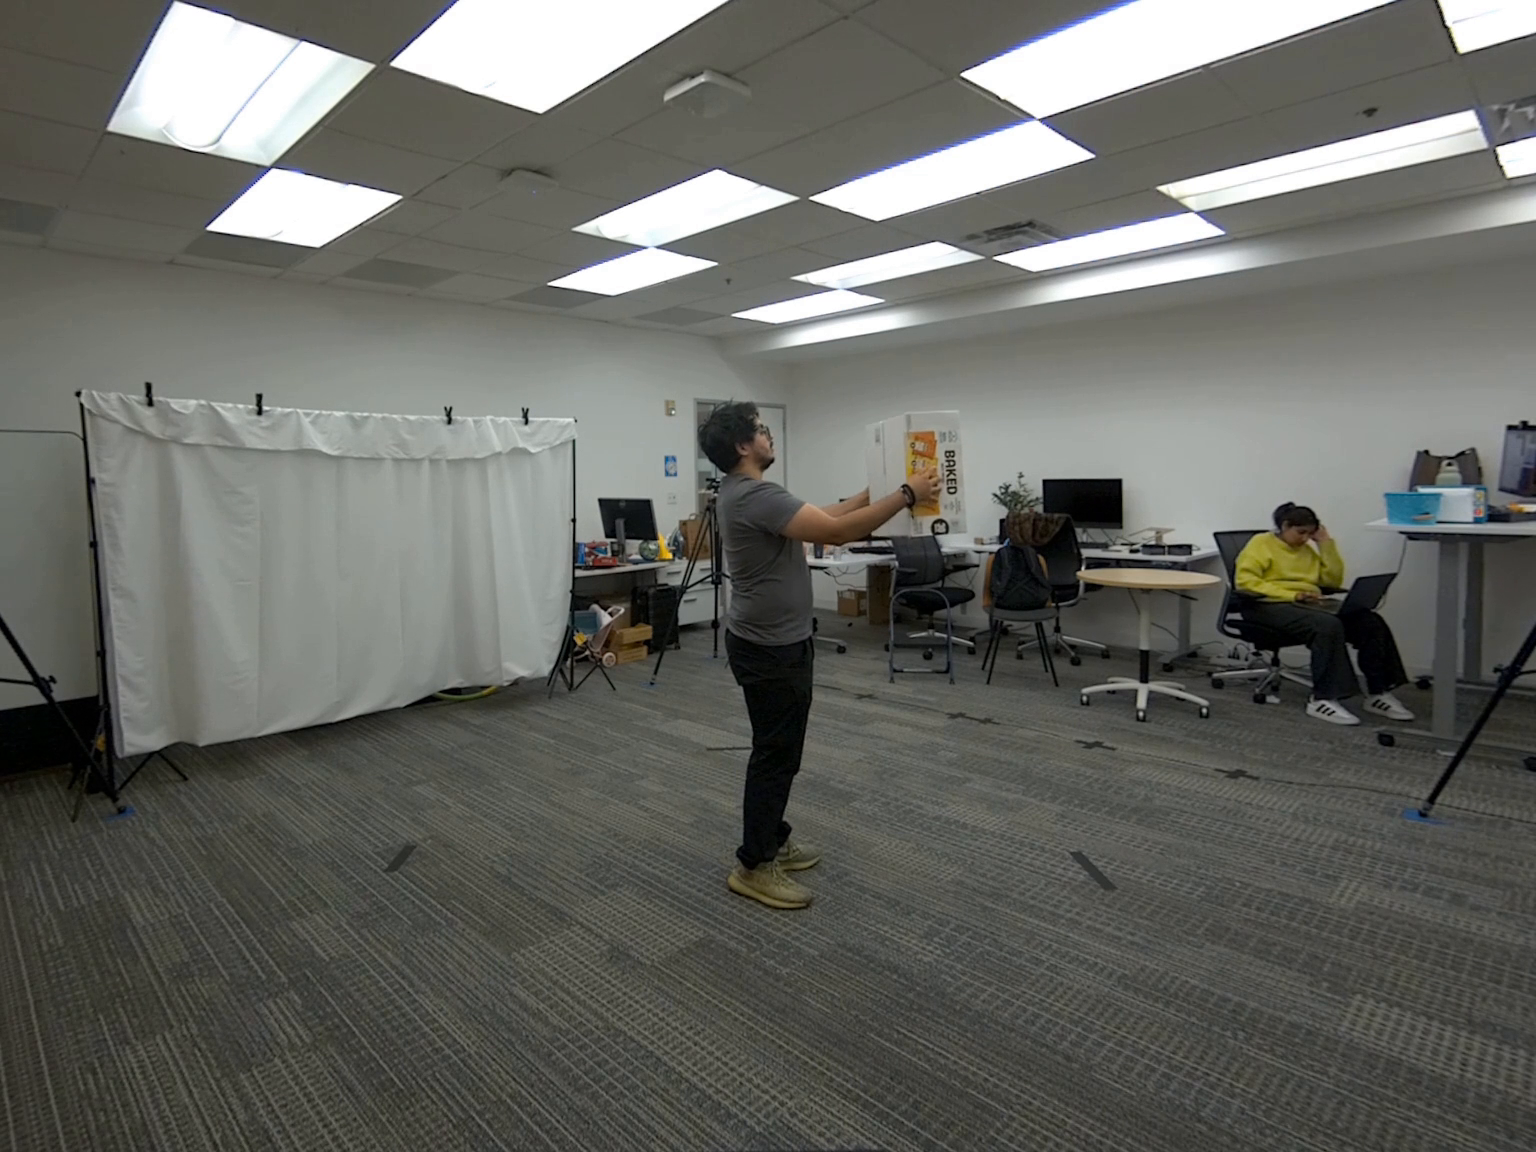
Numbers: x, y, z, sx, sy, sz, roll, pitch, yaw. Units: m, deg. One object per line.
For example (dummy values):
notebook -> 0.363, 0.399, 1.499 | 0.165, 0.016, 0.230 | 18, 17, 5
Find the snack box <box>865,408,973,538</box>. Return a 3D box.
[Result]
snack box -> 0.512, -0.347, 2.961 | 0.203, 0.405, 0.344 | -5, 1, -14
